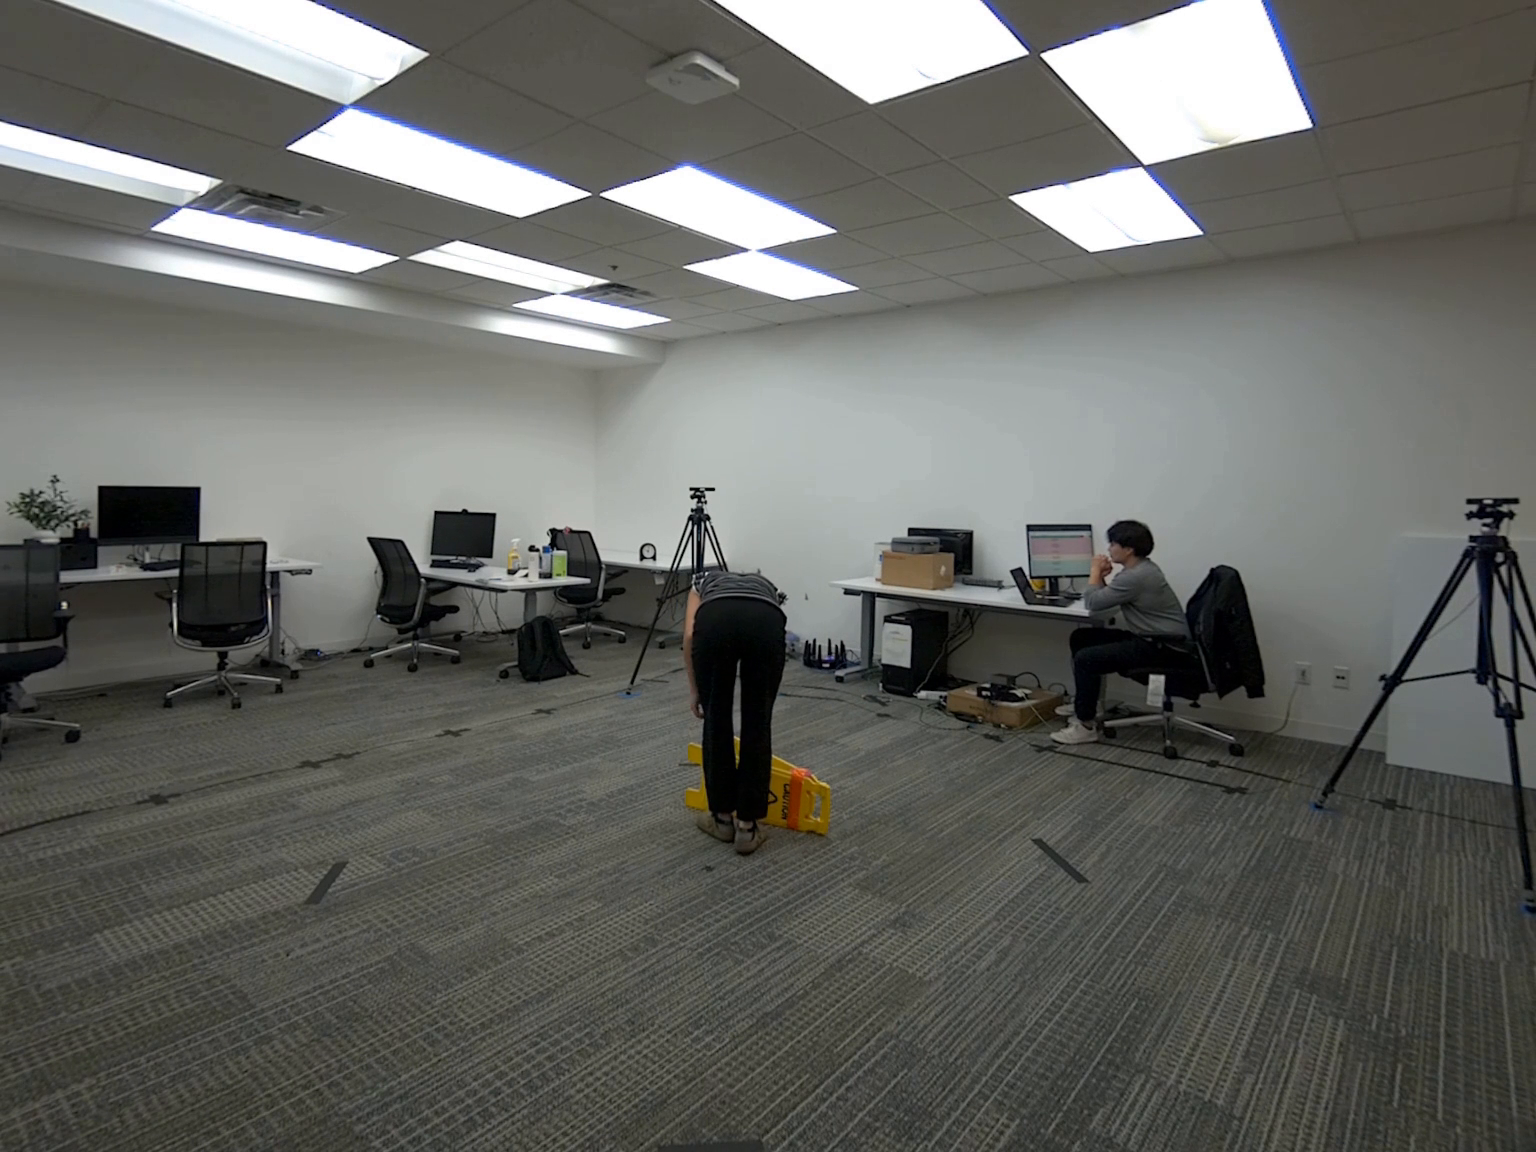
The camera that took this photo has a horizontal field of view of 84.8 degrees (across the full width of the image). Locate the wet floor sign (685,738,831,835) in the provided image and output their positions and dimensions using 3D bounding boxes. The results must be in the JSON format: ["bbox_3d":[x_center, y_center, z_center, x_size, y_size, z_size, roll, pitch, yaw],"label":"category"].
[{"bbox_3d":[-0.030,0.895,3.620,0.668,0.281,0.281,9,7,36],"label":"wet floor sign"}]
